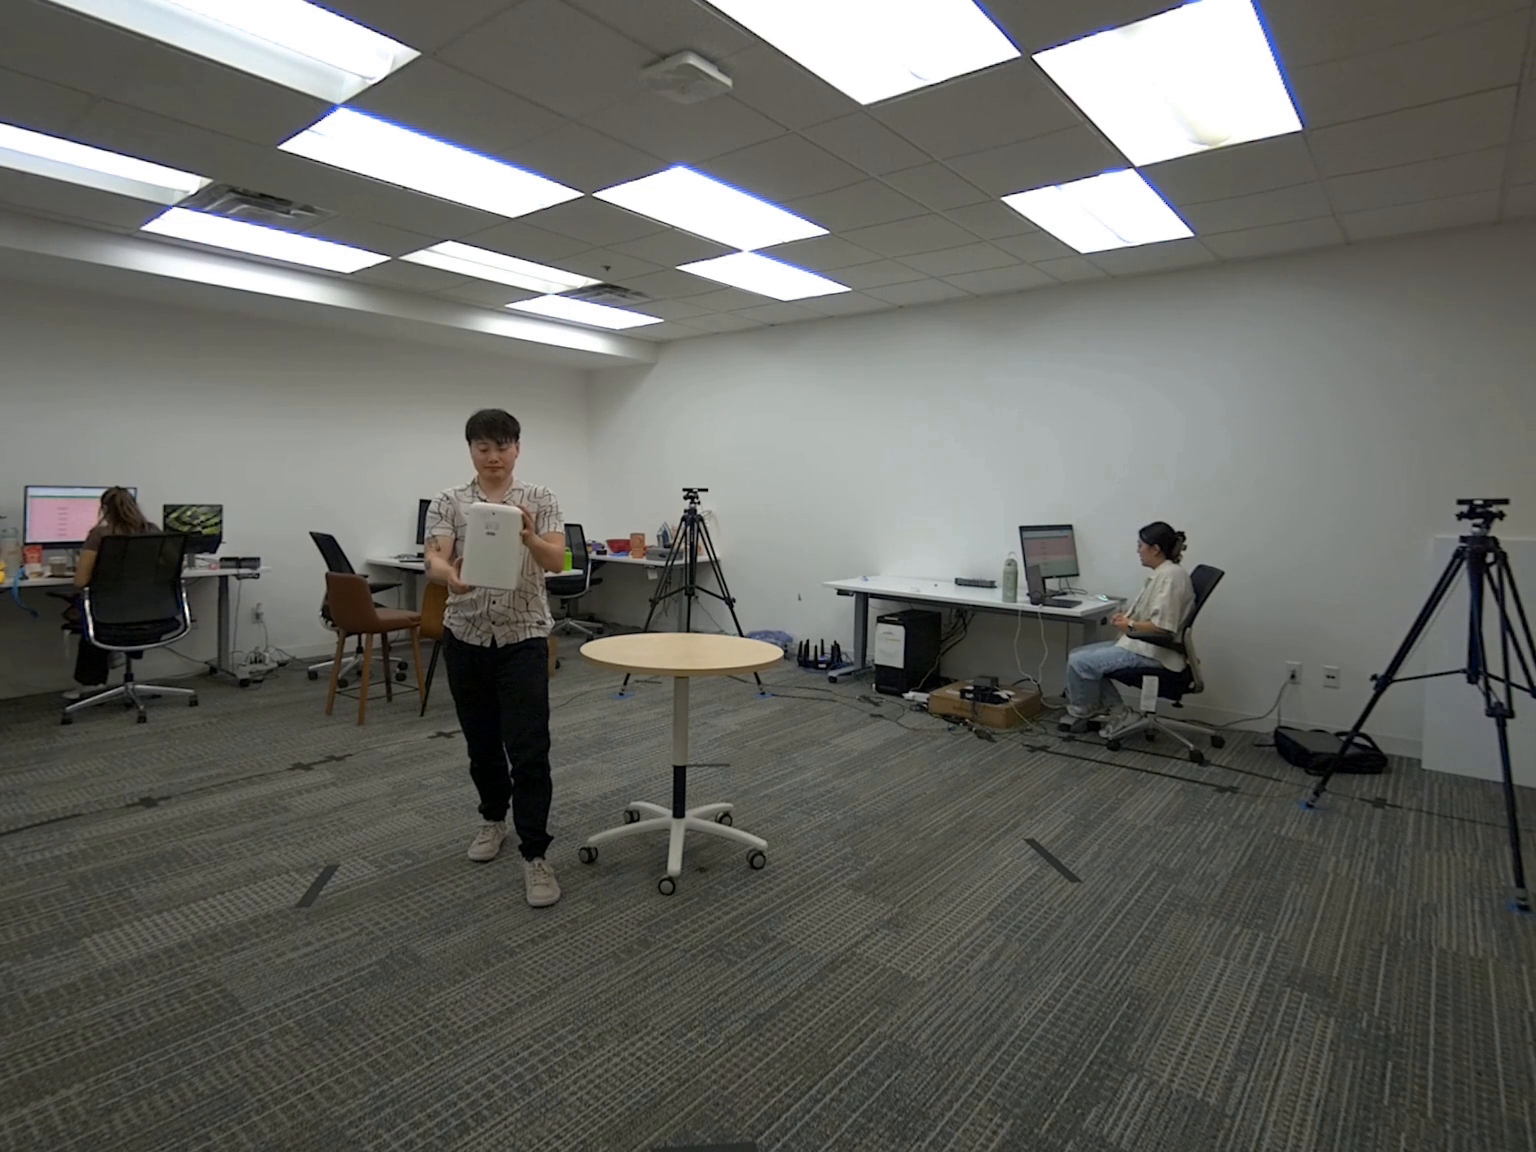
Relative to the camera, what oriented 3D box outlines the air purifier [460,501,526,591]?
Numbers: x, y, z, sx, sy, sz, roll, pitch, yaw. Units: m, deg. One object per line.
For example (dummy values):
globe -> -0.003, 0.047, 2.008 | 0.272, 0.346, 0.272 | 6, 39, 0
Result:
air purifier -> -0.896, -0.101, 2.719 | 0.169, 0.265, 0.173 | 7, -1, -9
